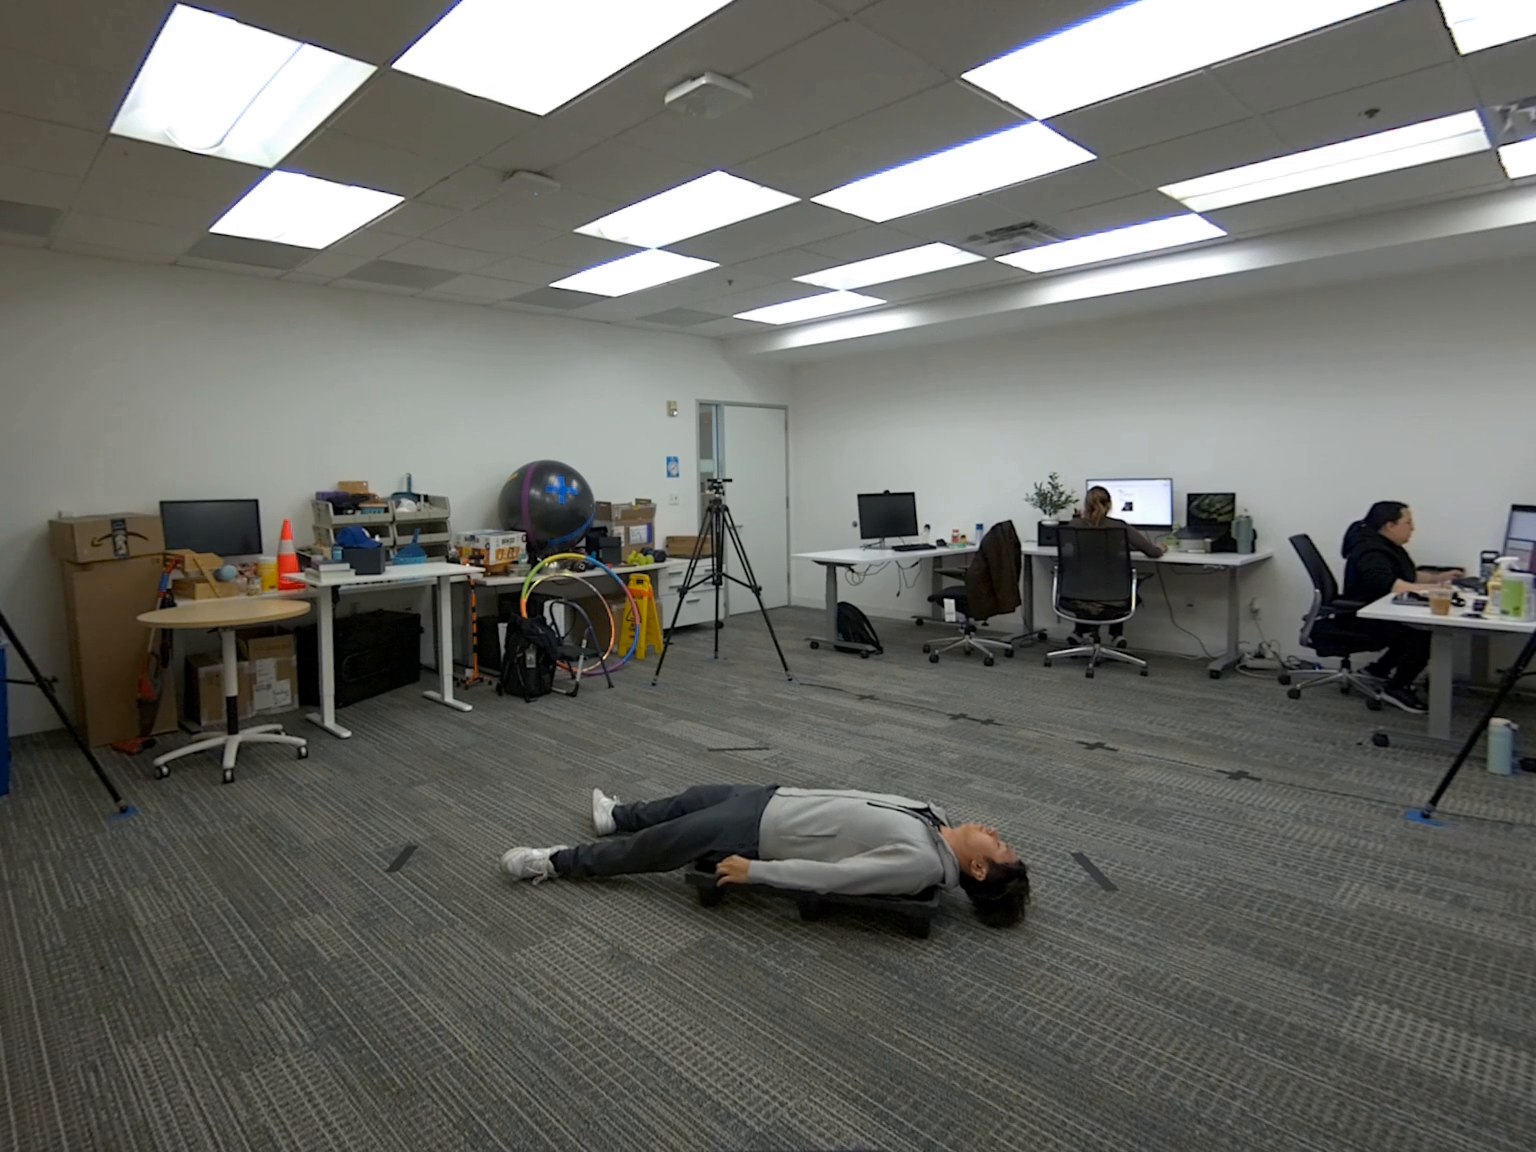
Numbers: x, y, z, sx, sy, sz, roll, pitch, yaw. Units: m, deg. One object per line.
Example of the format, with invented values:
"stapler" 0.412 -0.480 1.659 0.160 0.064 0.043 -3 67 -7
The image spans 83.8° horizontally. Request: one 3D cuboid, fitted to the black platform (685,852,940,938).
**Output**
"black platform" 0.194 0.982 2.922 0.821 0.143 0.596 2 6 19
